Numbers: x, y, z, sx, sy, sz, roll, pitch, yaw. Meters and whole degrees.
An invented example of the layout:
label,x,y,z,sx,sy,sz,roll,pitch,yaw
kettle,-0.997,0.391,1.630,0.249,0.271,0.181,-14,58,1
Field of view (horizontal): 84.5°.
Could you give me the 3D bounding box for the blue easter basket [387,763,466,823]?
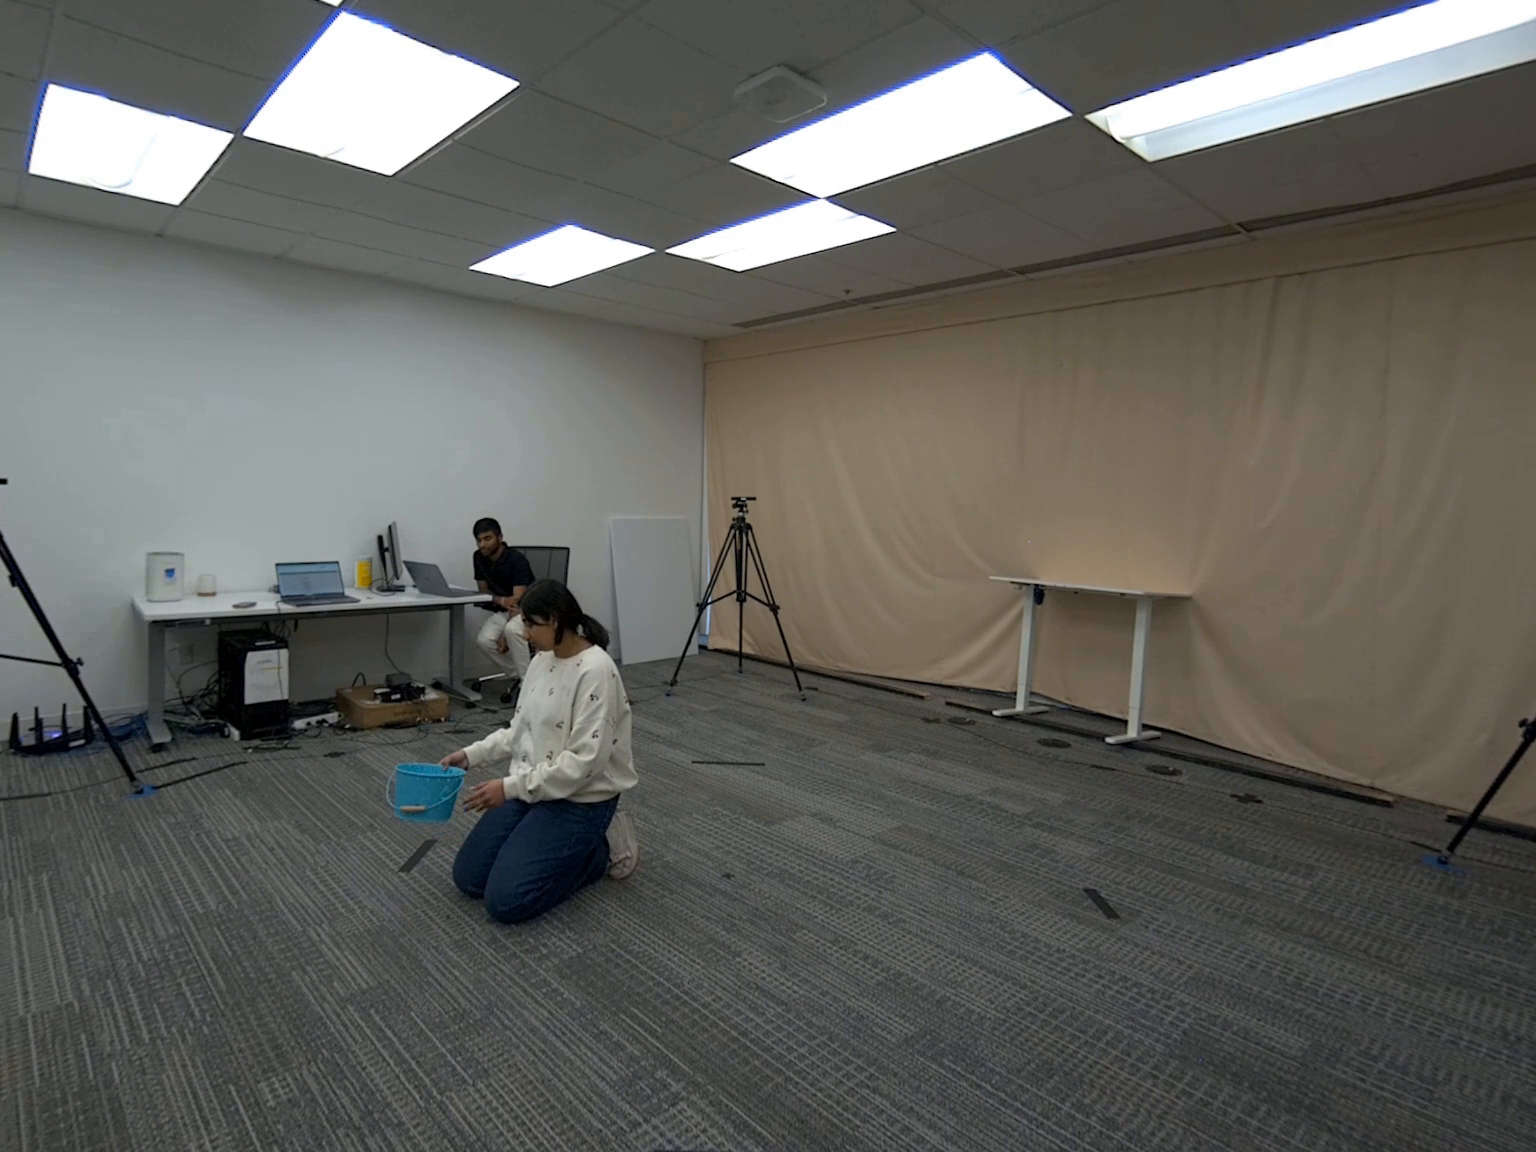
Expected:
label,x,y,z,sx,sy,sz,roll,pitch,yaw
blue easter basket,-1.149,0.724,2.815,0.244,0.157,0.242,7,-8,0
